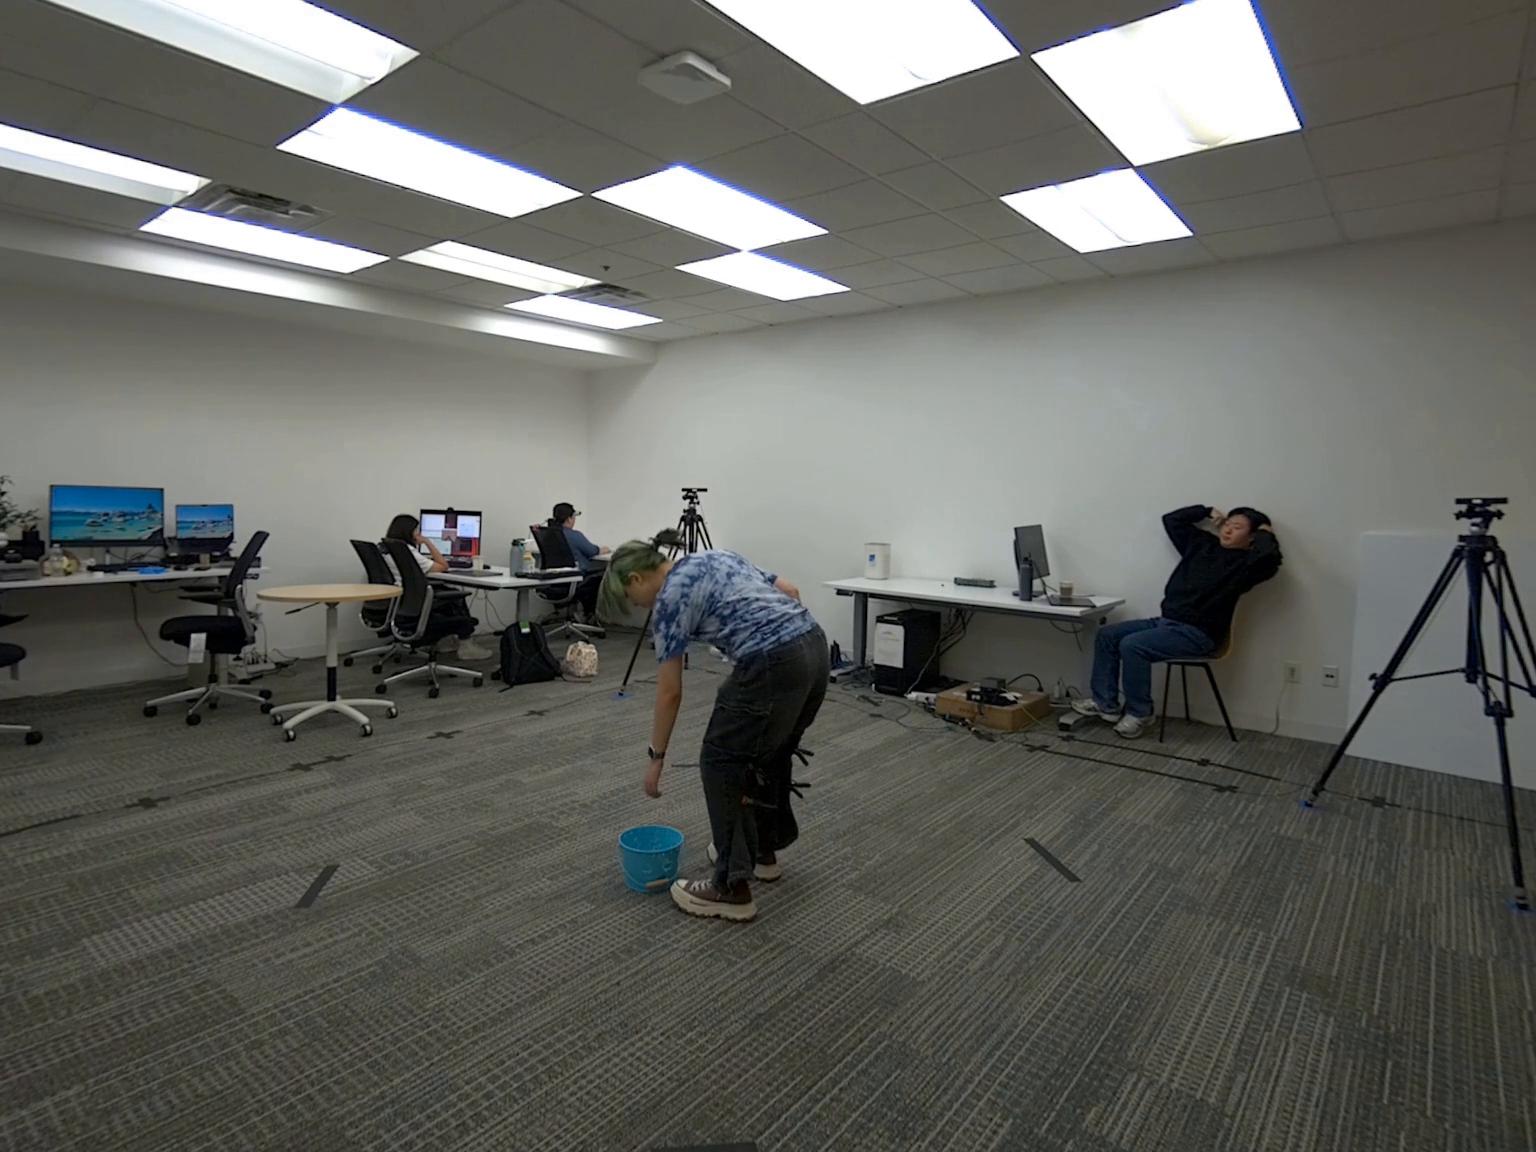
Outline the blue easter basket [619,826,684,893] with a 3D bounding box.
[{"bbox_3d":[-0.424,0.997,3.003,0.243,0.155,0.245,0,4,-2],"label":"blue easter basket"}]
